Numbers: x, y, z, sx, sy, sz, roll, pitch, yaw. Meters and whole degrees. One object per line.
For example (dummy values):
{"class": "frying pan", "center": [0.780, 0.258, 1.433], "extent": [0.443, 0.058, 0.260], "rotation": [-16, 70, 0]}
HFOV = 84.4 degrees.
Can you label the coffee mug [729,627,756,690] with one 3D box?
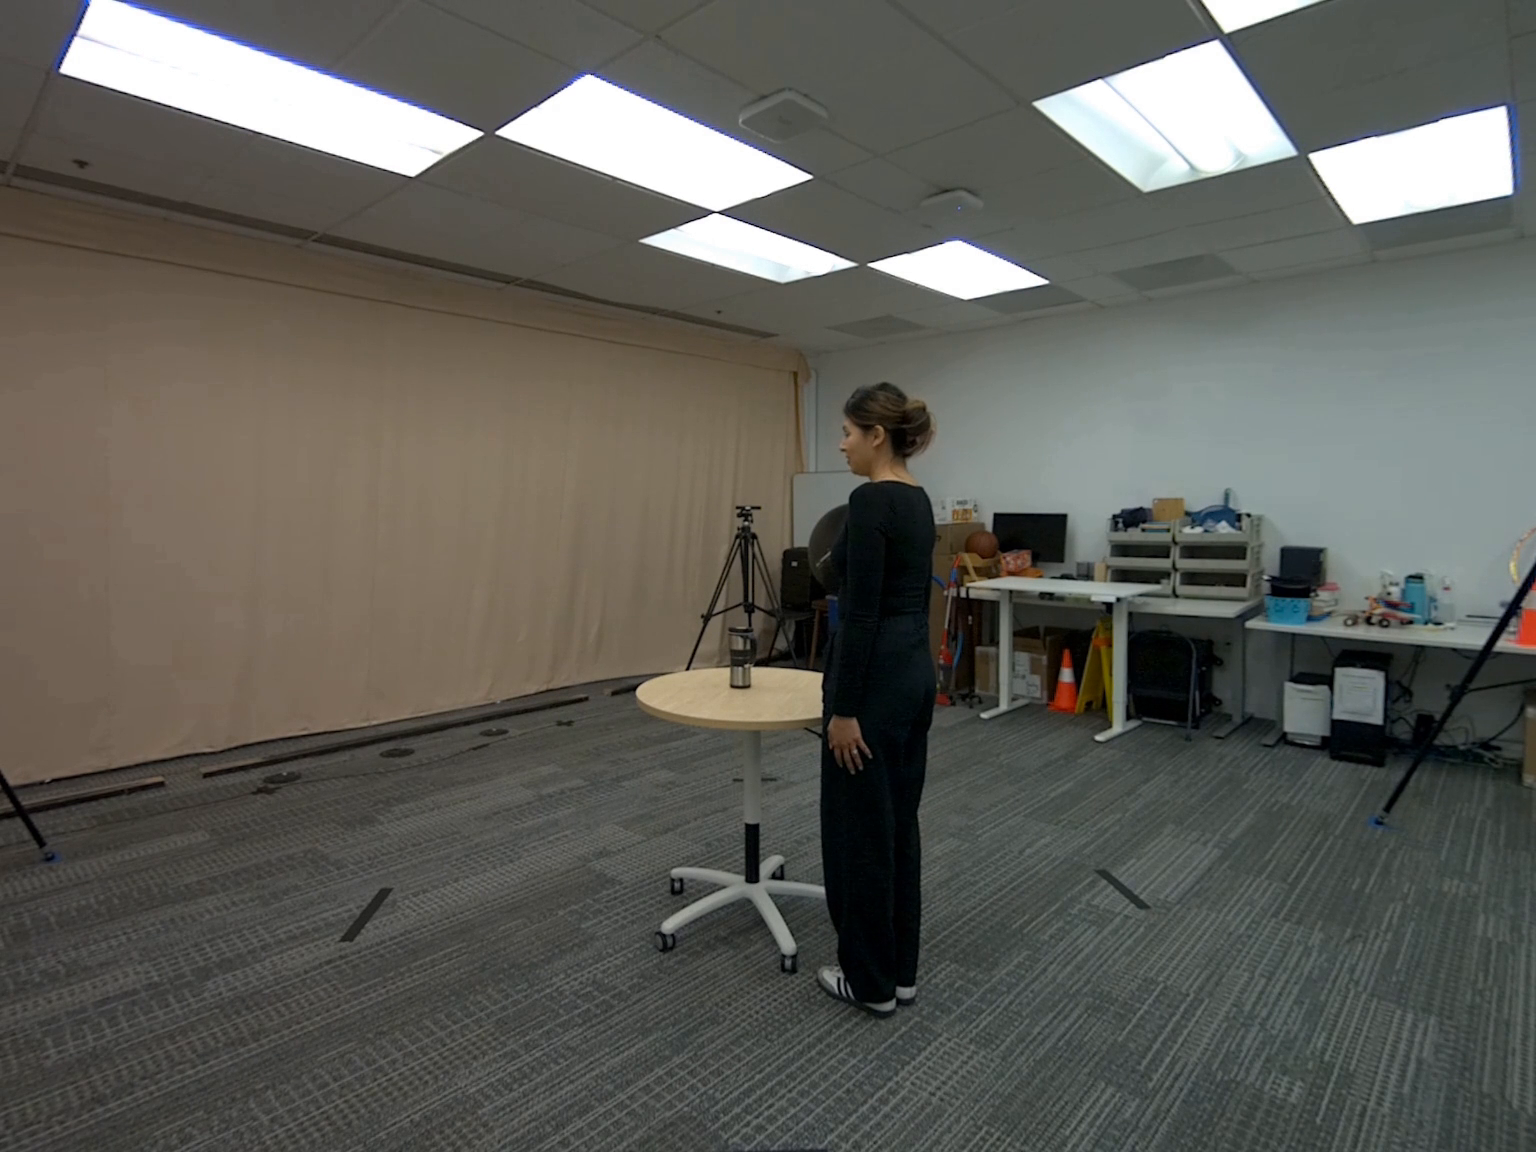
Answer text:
{"class": "coffee mug", "center": [-0.093, 0.277, 2.804], "extent": [0.089, 0.202, 0.121], "rotation": [4, 3, 10]}
